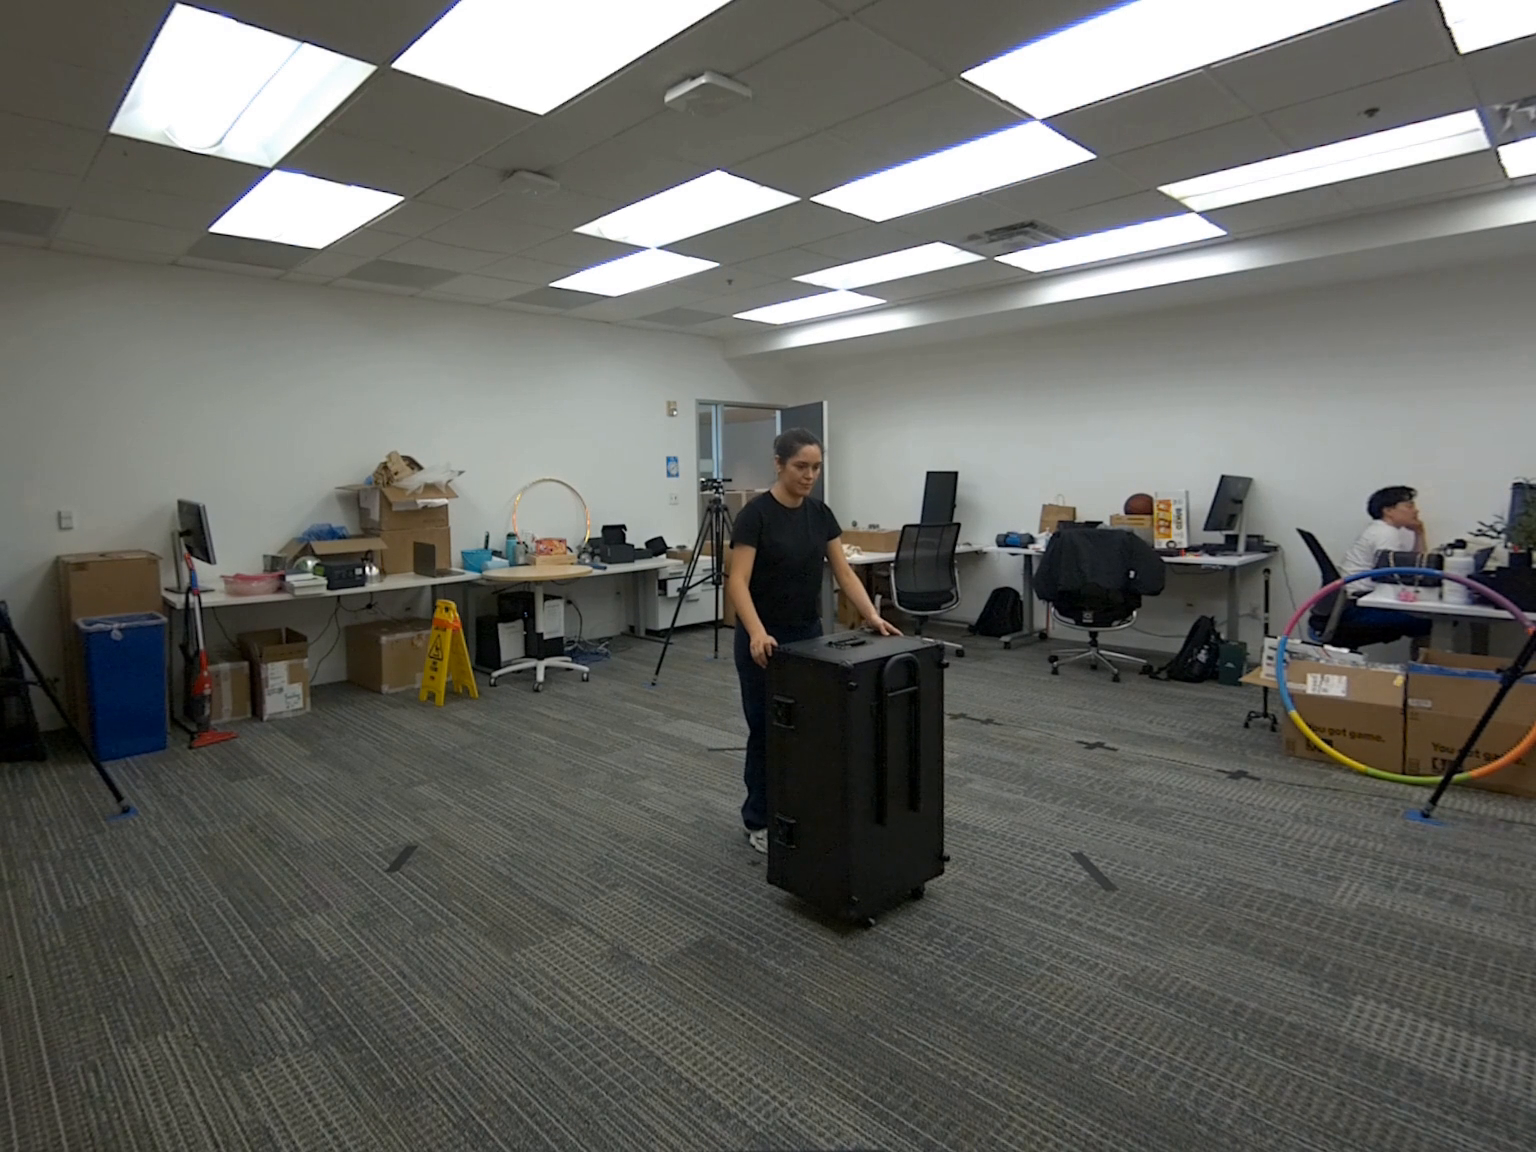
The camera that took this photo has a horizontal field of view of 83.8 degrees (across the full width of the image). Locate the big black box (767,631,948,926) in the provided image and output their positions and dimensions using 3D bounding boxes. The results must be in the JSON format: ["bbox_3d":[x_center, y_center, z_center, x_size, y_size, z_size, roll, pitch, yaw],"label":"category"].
[{"bbox_3d":[0.299,0.647,2.815,0.507,0.858,0.408,-5,7,-41],"label":"big black box"}]
